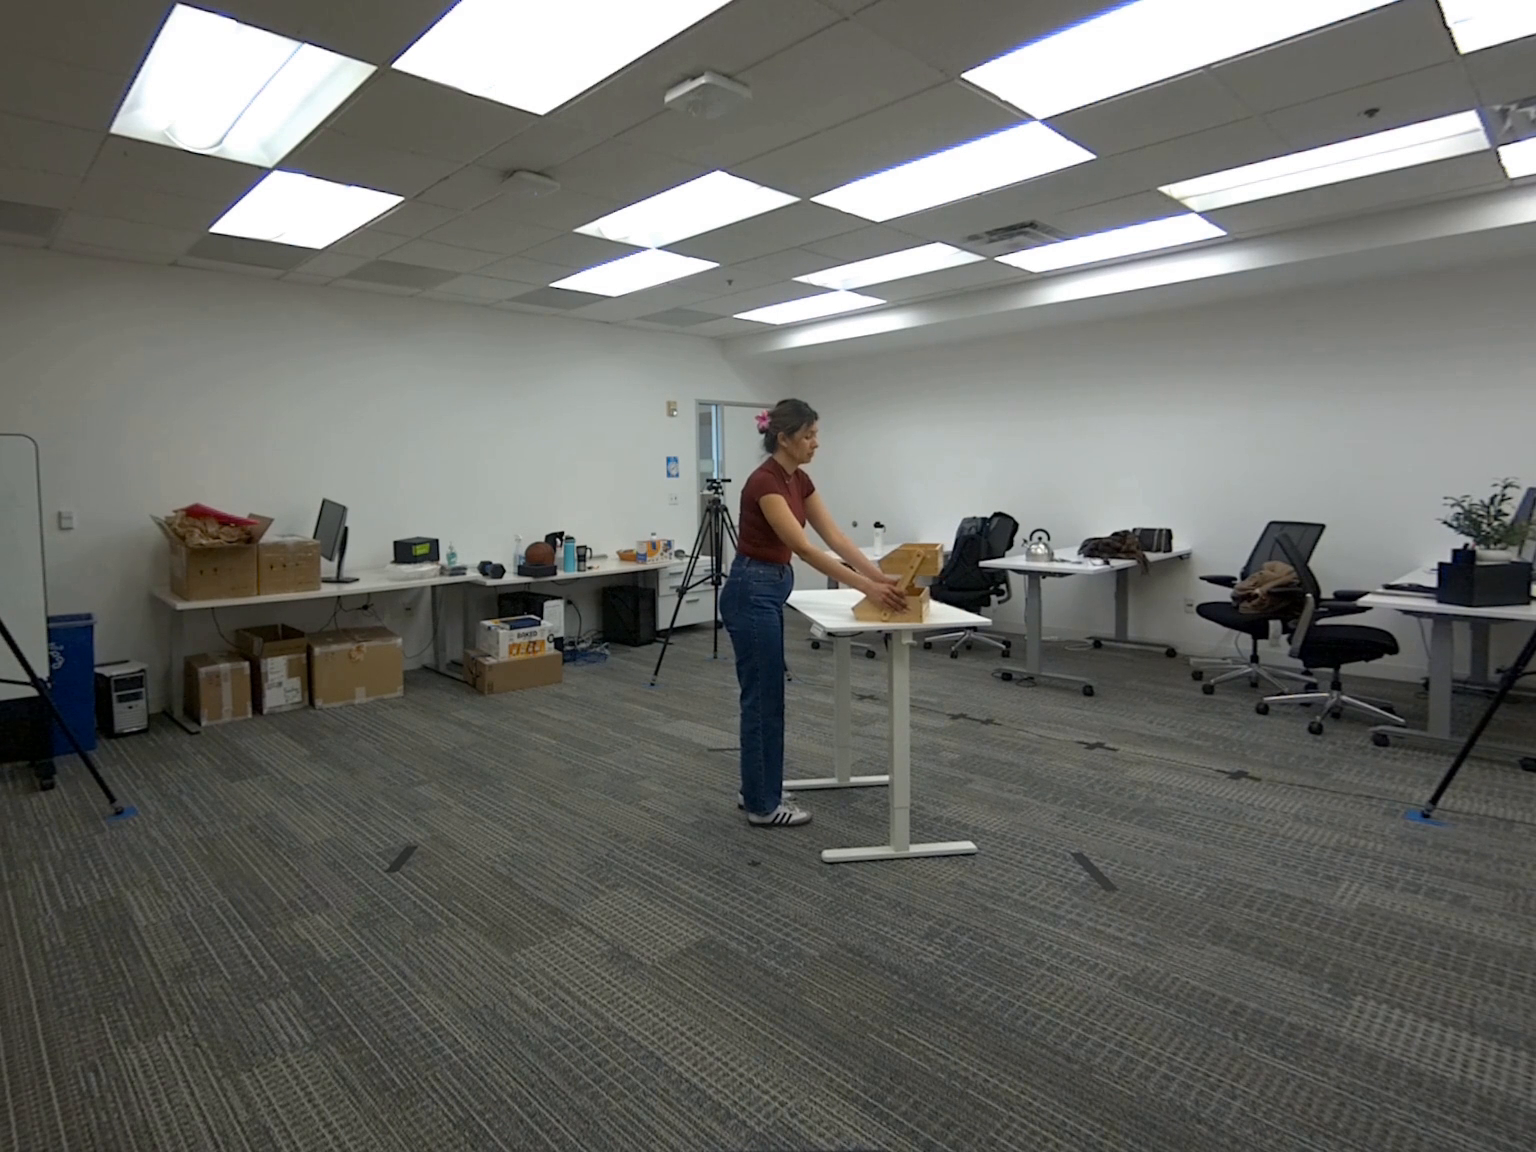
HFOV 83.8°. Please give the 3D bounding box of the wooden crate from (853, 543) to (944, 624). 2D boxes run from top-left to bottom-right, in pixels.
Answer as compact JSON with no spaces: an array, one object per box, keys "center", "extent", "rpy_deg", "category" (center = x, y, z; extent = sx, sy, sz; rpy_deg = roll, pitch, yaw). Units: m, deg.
[{"center":[0.475,0.016,3.148],"extent":[0.307,0.272,0.321],"rpy_deg":[0,5,15],"category":"wooden crate"}]
